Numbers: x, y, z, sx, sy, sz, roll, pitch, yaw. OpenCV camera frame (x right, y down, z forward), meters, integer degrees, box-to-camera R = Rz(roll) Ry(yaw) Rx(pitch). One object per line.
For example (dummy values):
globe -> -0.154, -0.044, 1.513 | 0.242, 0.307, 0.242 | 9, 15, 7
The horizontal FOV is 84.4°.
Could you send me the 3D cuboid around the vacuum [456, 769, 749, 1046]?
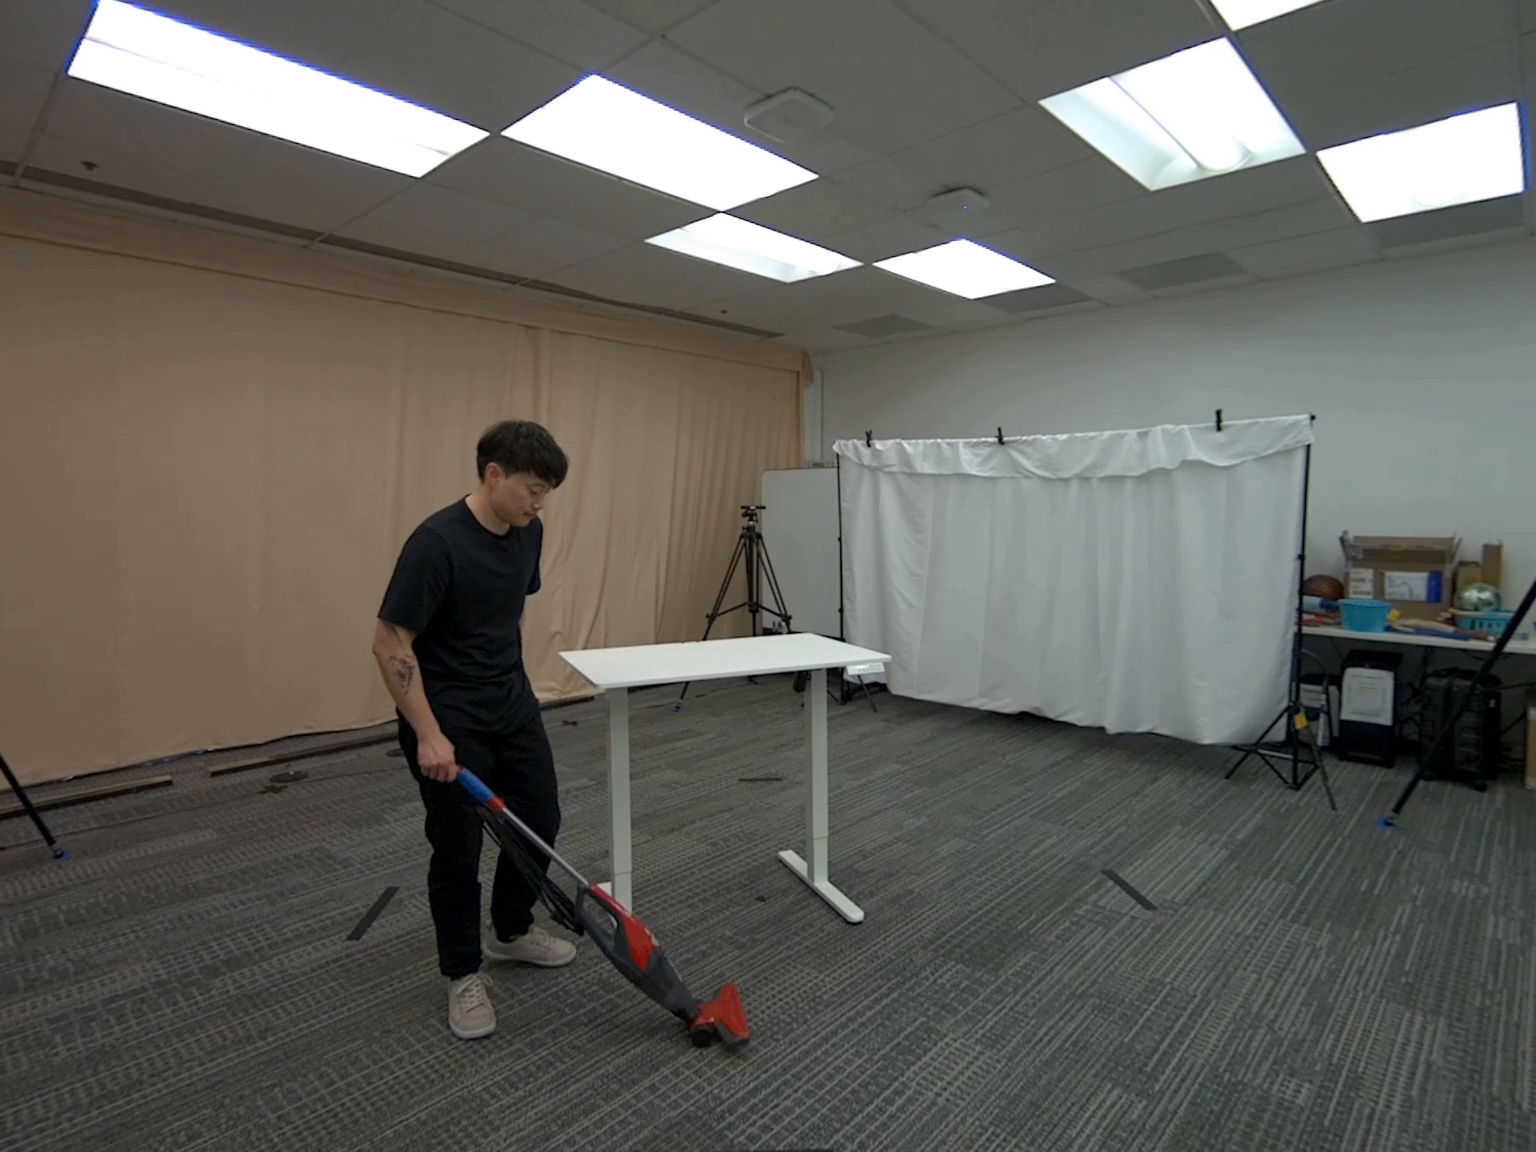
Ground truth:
vacuum -> -0.480, 0.826, 2.152 | 1.039, 0.144, 0.255 | 45, -4, -8
